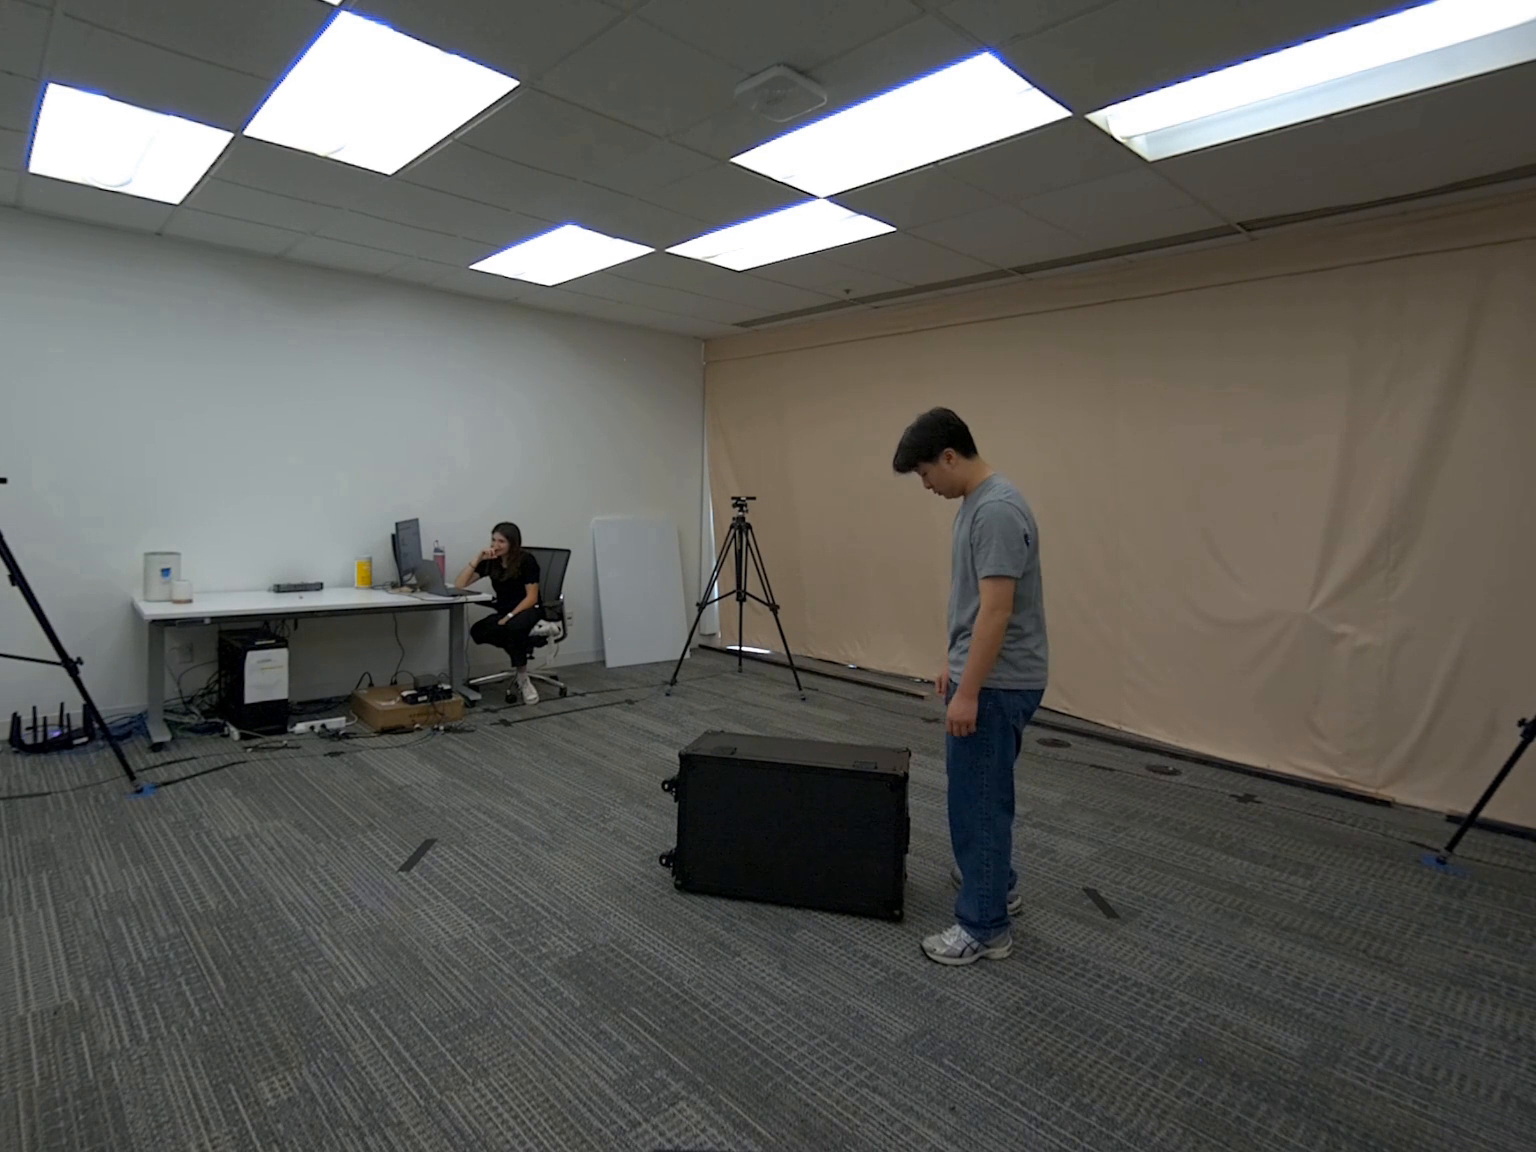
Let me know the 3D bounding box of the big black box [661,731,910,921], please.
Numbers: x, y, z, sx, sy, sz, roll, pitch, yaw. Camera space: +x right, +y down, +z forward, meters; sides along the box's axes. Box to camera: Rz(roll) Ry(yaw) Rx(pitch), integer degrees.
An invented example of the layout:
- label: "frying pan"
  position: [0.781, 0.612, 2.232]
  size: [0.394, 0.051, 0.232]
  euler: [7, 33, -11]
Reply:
- label: "big black box"
  position: [0.124, 0.866, 3.027]
  size: [0.872, 0.520, 0.392]
  euler: [3, 2, 14]
